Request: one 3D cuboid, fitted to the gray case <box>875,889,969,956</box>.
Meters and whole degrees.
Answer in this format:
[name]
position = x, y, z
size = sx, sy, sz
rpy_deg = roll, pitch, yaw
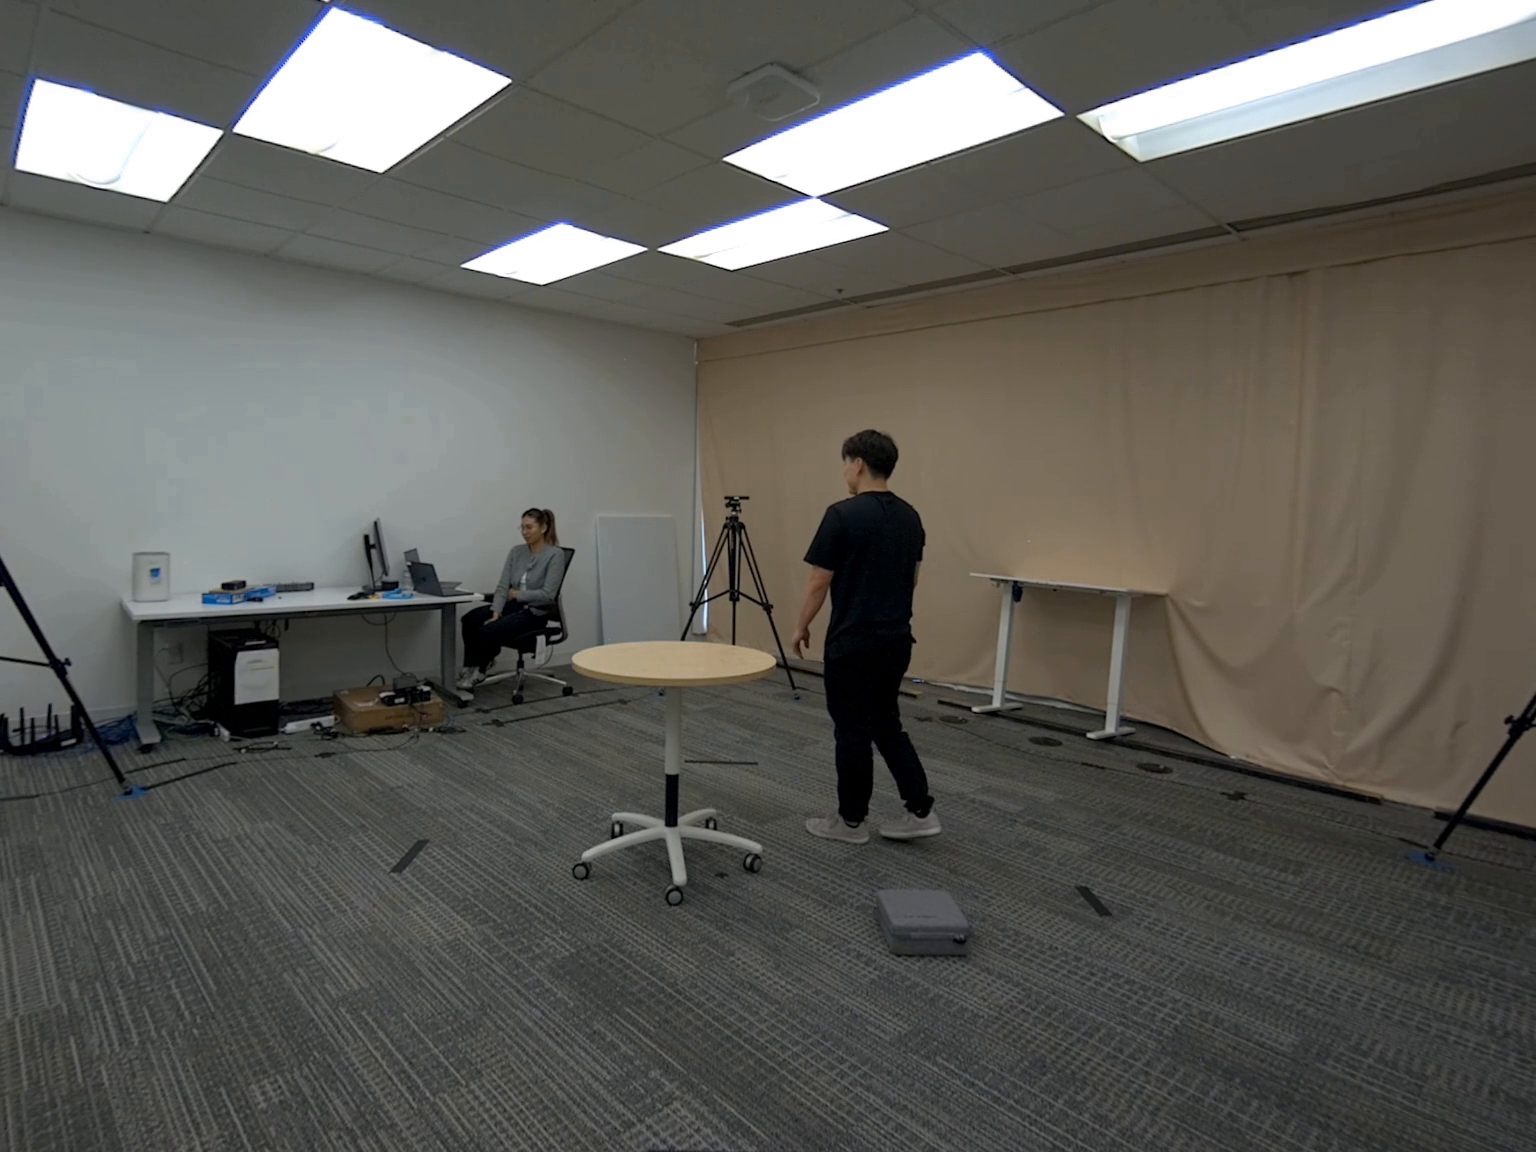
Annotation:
[gray case]
position = 0.488, 1.103, 2.688
size = 0.256, 0.104, 0.262
rpy_deg = 1, 5, -4
